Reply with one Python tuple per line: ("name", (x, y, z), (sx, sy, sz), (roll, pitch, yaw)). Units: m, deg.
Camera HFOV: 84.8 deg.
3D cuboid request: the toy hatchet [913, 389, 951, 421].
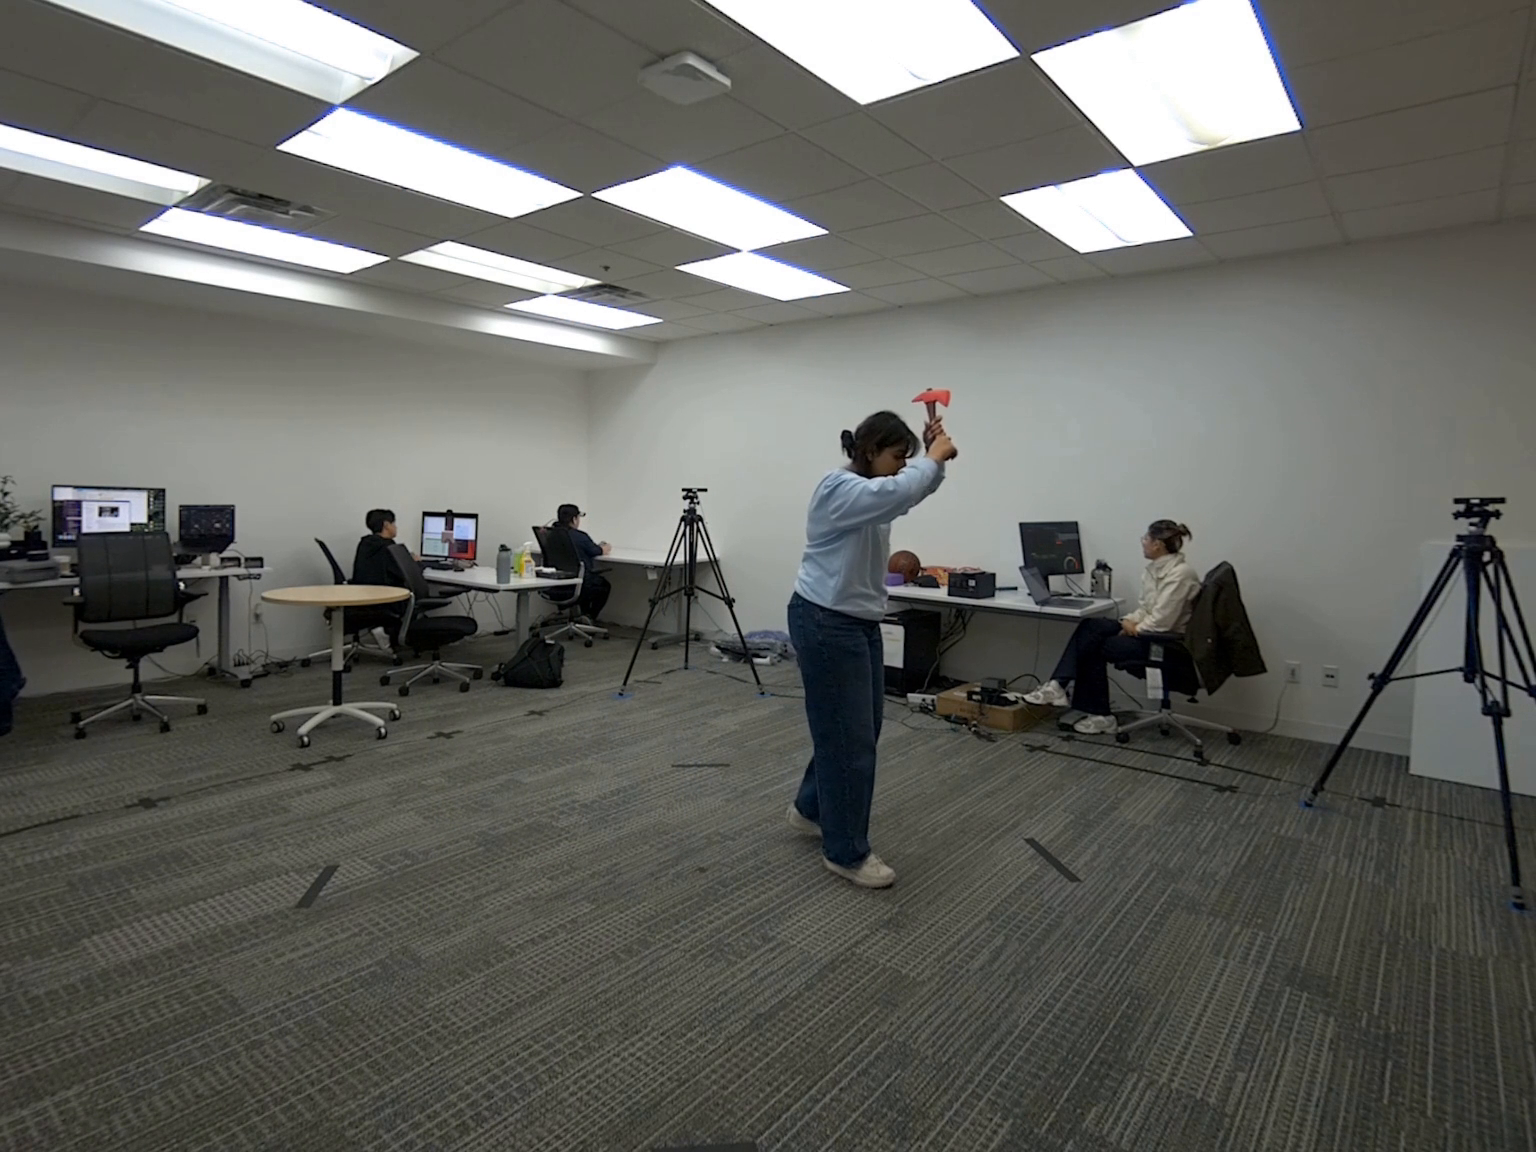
("toy hatchet", (0.611, -0.543, 2.967), (0.132, 0.277, 0.028), (-28, -22, 14))
